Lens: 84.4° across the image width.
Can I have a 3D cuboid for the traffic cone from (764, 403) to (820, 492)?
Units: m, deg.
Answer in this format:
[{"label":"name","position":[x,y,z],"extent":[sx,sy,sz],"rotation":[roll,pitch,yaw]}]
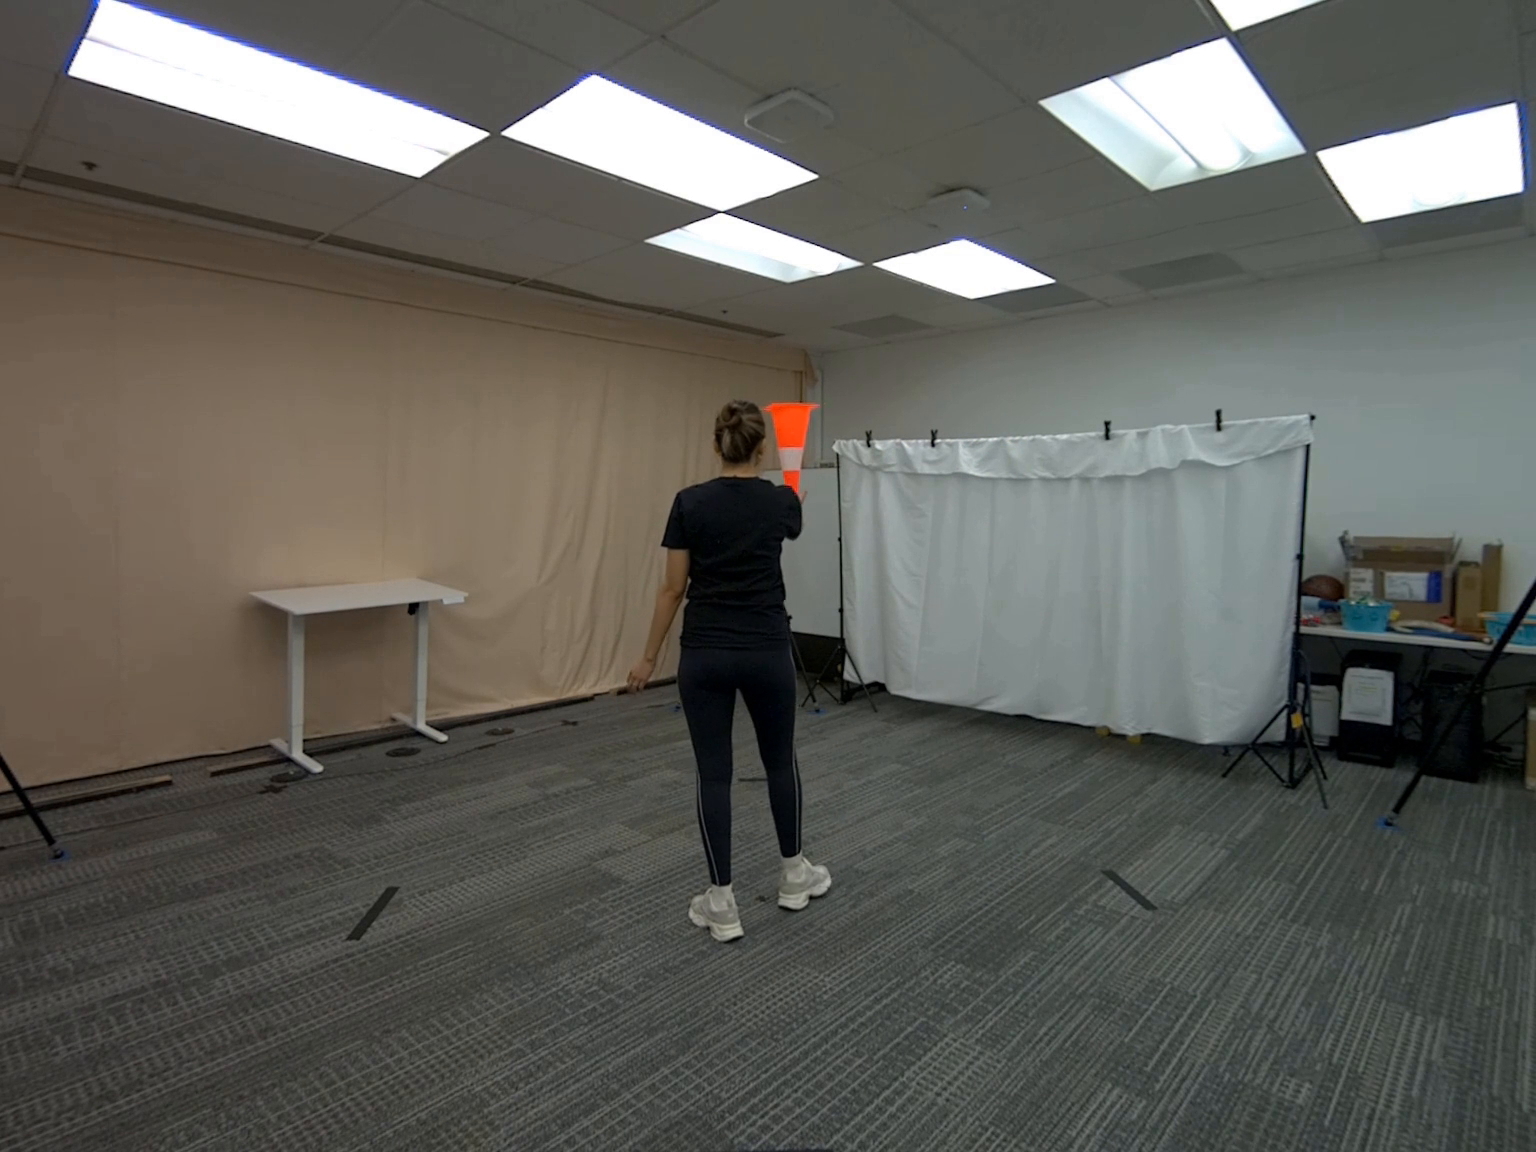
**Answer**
[{"label":"traffic cone","position":[0.102,-0.492,3.404],"extent":[0.202,0.383,0.207],"rotation":[-2,1,-16]}]
